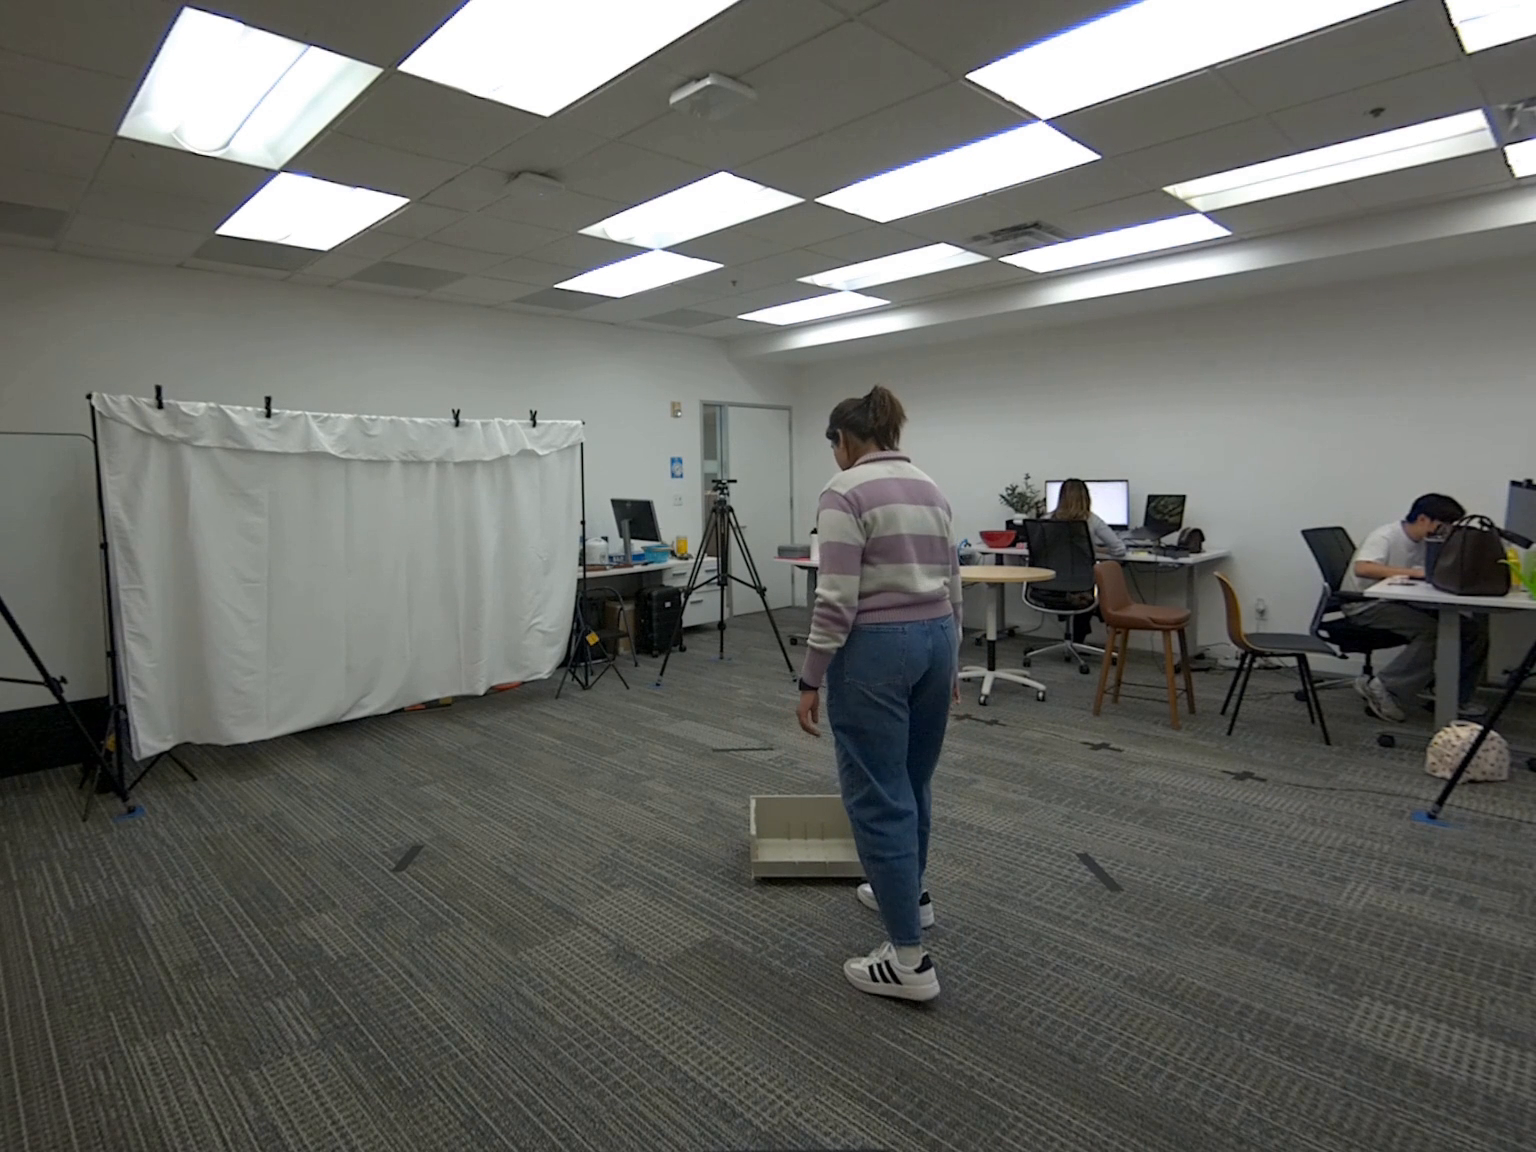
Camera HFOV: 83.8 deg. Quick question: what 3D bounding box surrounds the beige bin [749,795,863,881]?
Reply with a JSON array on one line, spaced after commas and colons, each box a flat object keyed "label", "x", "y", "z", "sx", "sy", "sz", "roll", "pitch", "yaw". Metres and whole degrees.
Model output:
[{"label": "beige bin", "x": 0.149, "y": 0.957, "z": 3.106, "sx": 0.423, "sy": 0.188, "sz": 0.378, "roll": -2, "pitch": 5, "yaw": 1}]
